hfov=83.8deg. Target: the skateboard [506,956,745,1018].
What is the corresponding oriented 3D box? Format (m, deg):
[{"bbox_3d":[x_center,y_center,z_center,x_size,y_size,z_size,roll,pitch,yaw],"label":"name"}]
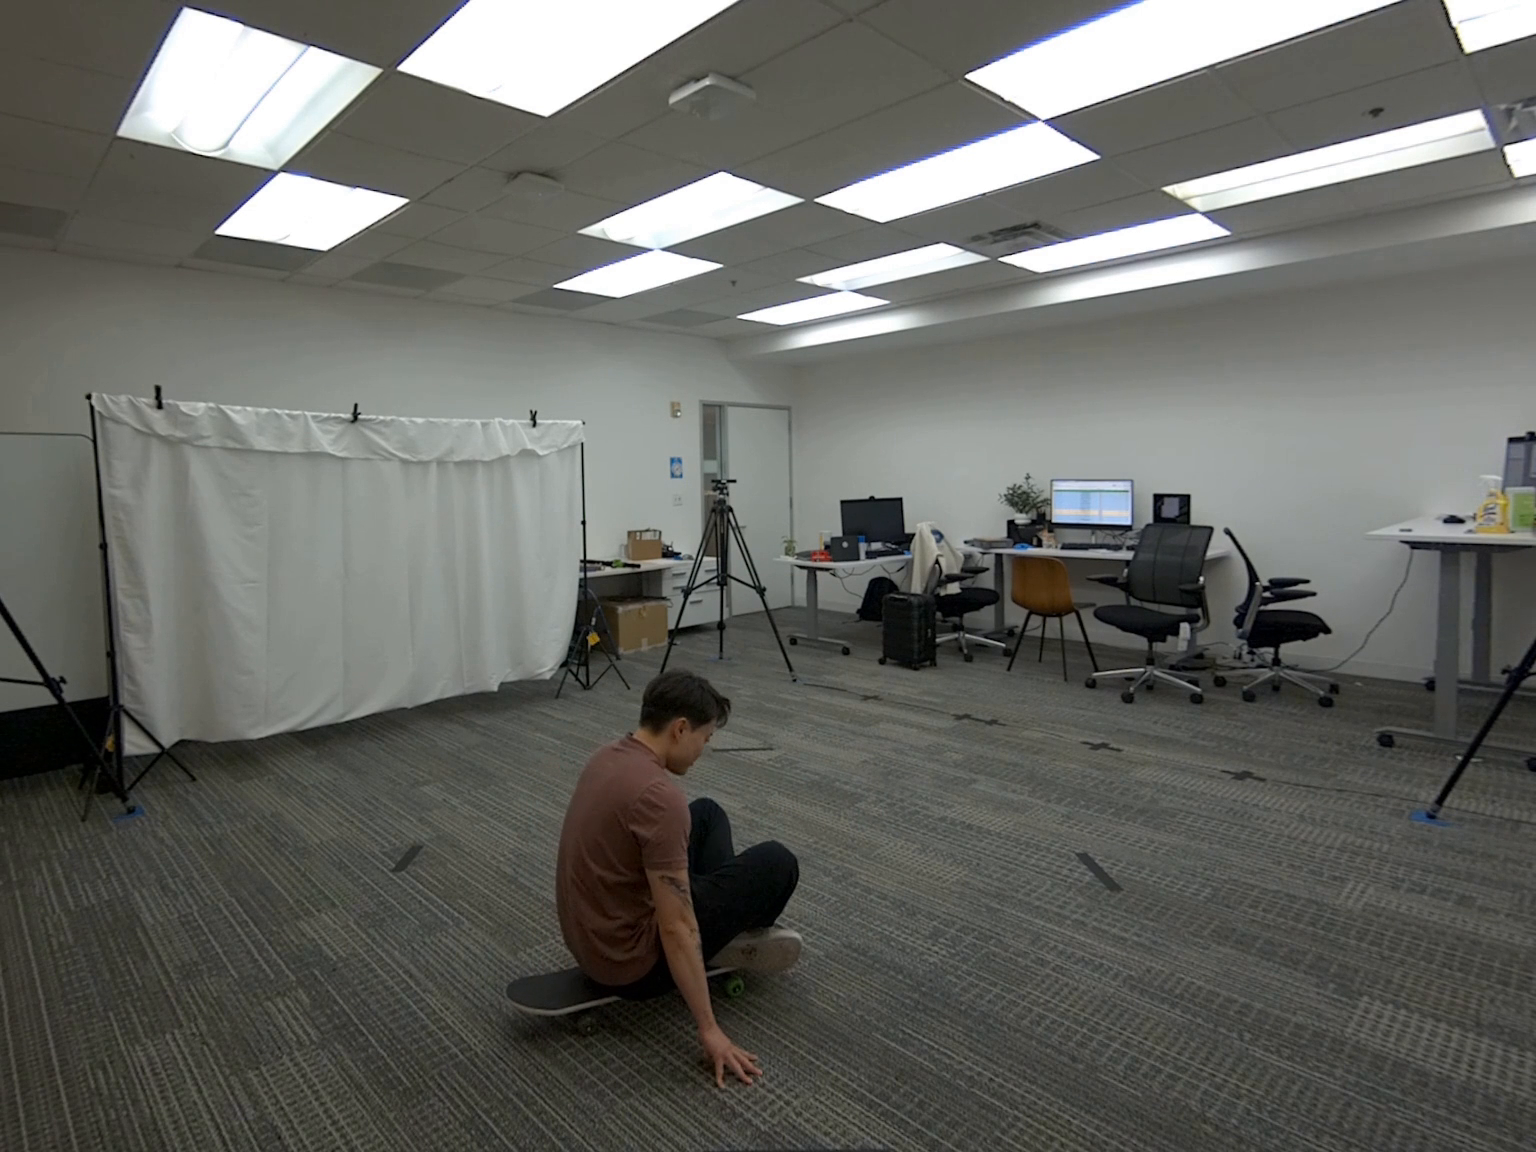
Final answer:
[{"bbox_3d":[-0.303,1.083,2.322,0.768,0.110,0.198,-4,3,-26],"label":"skateboard"}]
